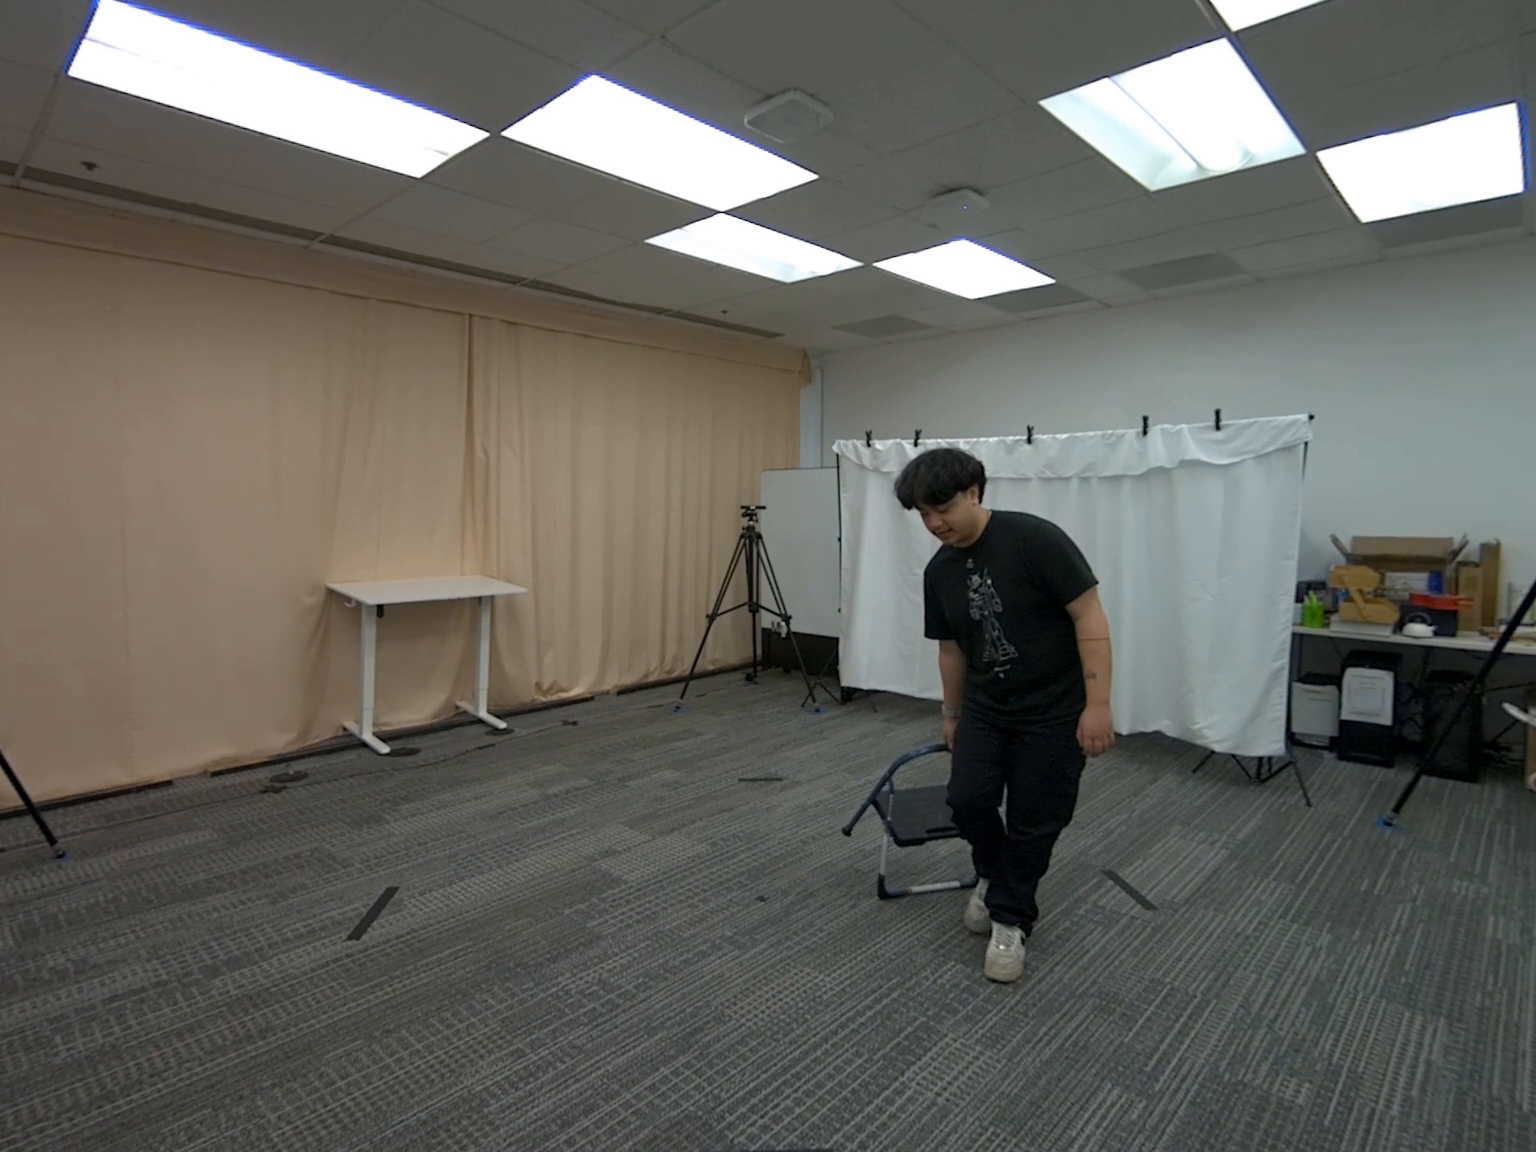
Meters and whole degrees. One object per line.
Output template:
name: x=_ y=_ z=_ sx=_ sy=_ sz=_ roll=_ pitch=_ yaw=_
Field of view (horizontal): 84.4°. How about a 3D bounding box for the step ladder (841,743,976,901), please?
step ladder: x=0.580 y=0.799 z=3.031 sx=0.423 sy=0.599 sz=0.359 roll=-1 pitch=29 yaw=-17
